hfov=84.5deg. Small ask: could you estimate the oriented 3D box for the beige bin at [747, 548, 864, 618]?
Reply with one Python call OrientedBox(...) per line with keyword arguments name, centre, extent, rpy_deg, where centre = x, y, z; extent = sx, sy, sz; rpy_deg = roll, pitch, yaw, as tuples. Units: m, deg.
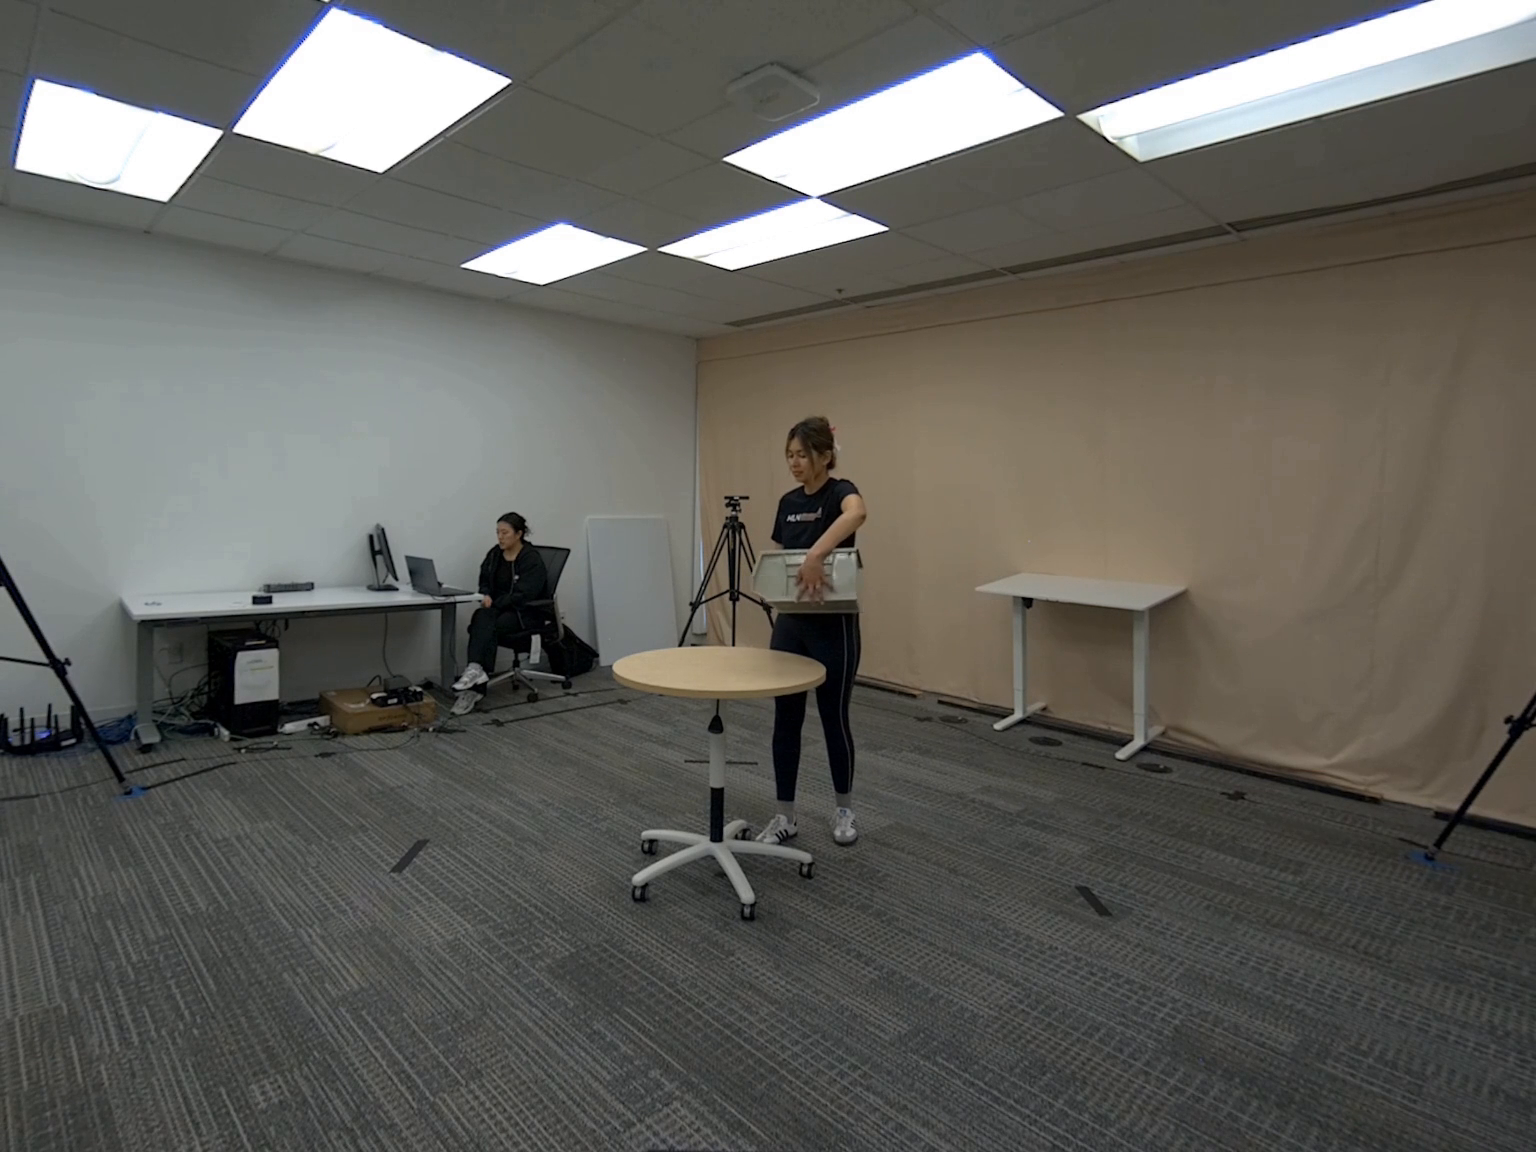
OrientedBox(name="beige bin", centre=(0.148, 0.030, 3.117), extent=(0.381, 0.190, 0.416), rpy_deg=(1, -8, 10))
